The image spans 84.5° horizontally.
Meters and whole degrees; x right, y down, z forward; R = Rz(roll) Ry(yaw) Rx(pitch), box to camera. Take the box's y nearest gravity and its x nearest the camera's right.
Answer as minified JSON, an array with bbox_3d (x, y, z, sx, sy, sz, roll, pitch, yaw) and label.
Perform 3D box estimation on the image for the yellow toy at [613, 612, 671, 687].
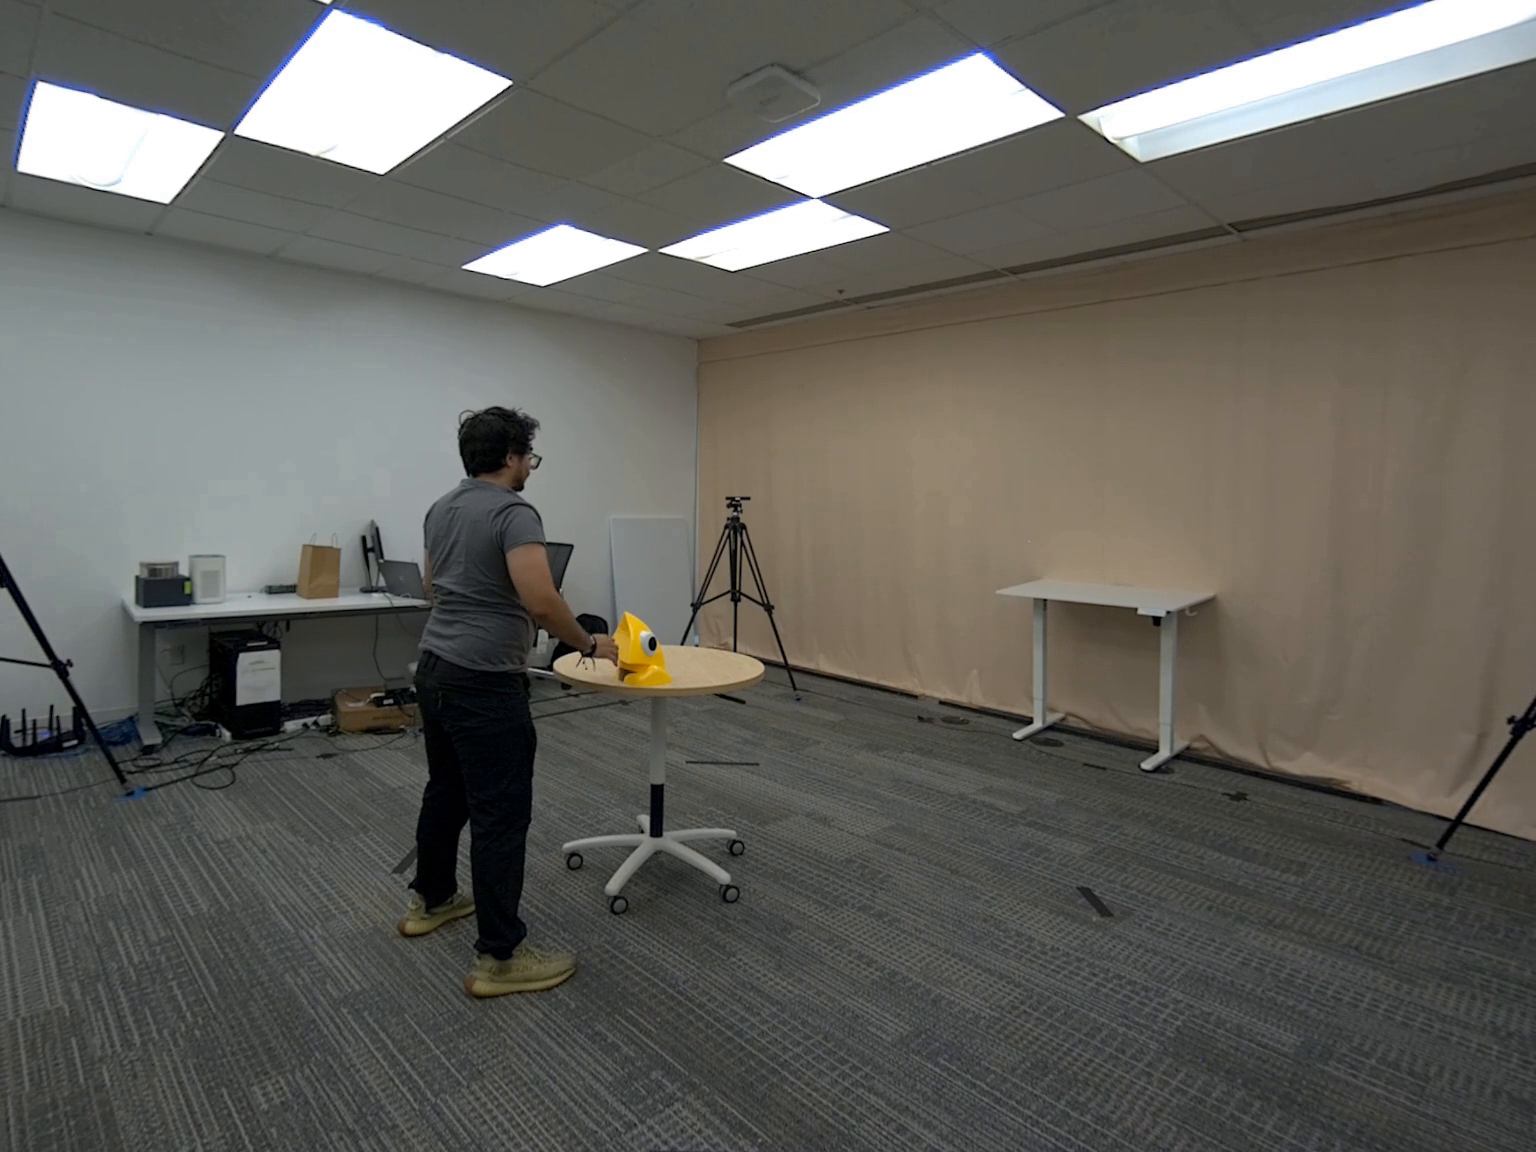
[{"bbox_3d":[-0.436,0.233,2.811,0.189,0.230,0.209,-1,5,-31],"label":"yellow toy"}]
